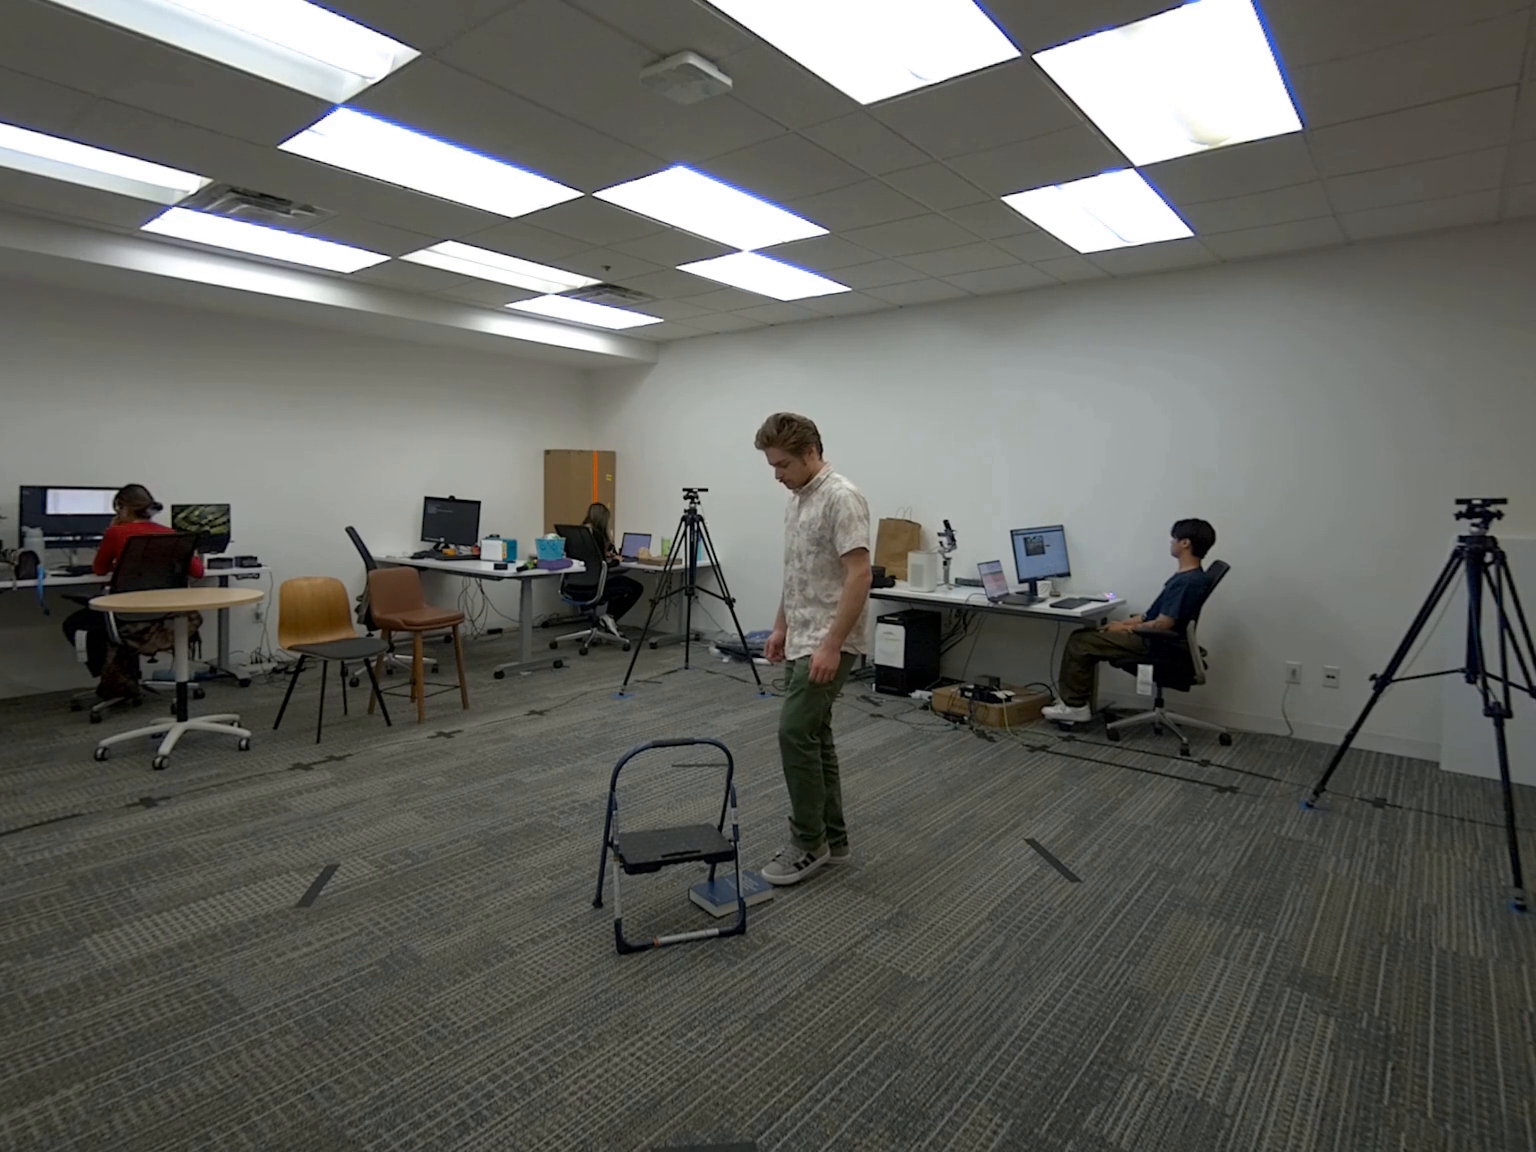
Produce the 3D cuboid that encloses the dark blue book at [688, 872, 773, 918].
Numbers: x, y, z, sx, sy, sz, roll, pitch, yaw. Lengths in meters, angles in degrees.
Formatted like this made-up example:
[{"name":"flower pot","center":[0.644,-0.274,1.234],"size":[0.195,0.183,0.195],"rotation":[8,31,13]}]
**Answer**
[{"name":"dark blue book","center":[-0.130,1.073,2.879],"size":[0.238,0.045,0.169],"rotation":[-3,7,-38]}]
